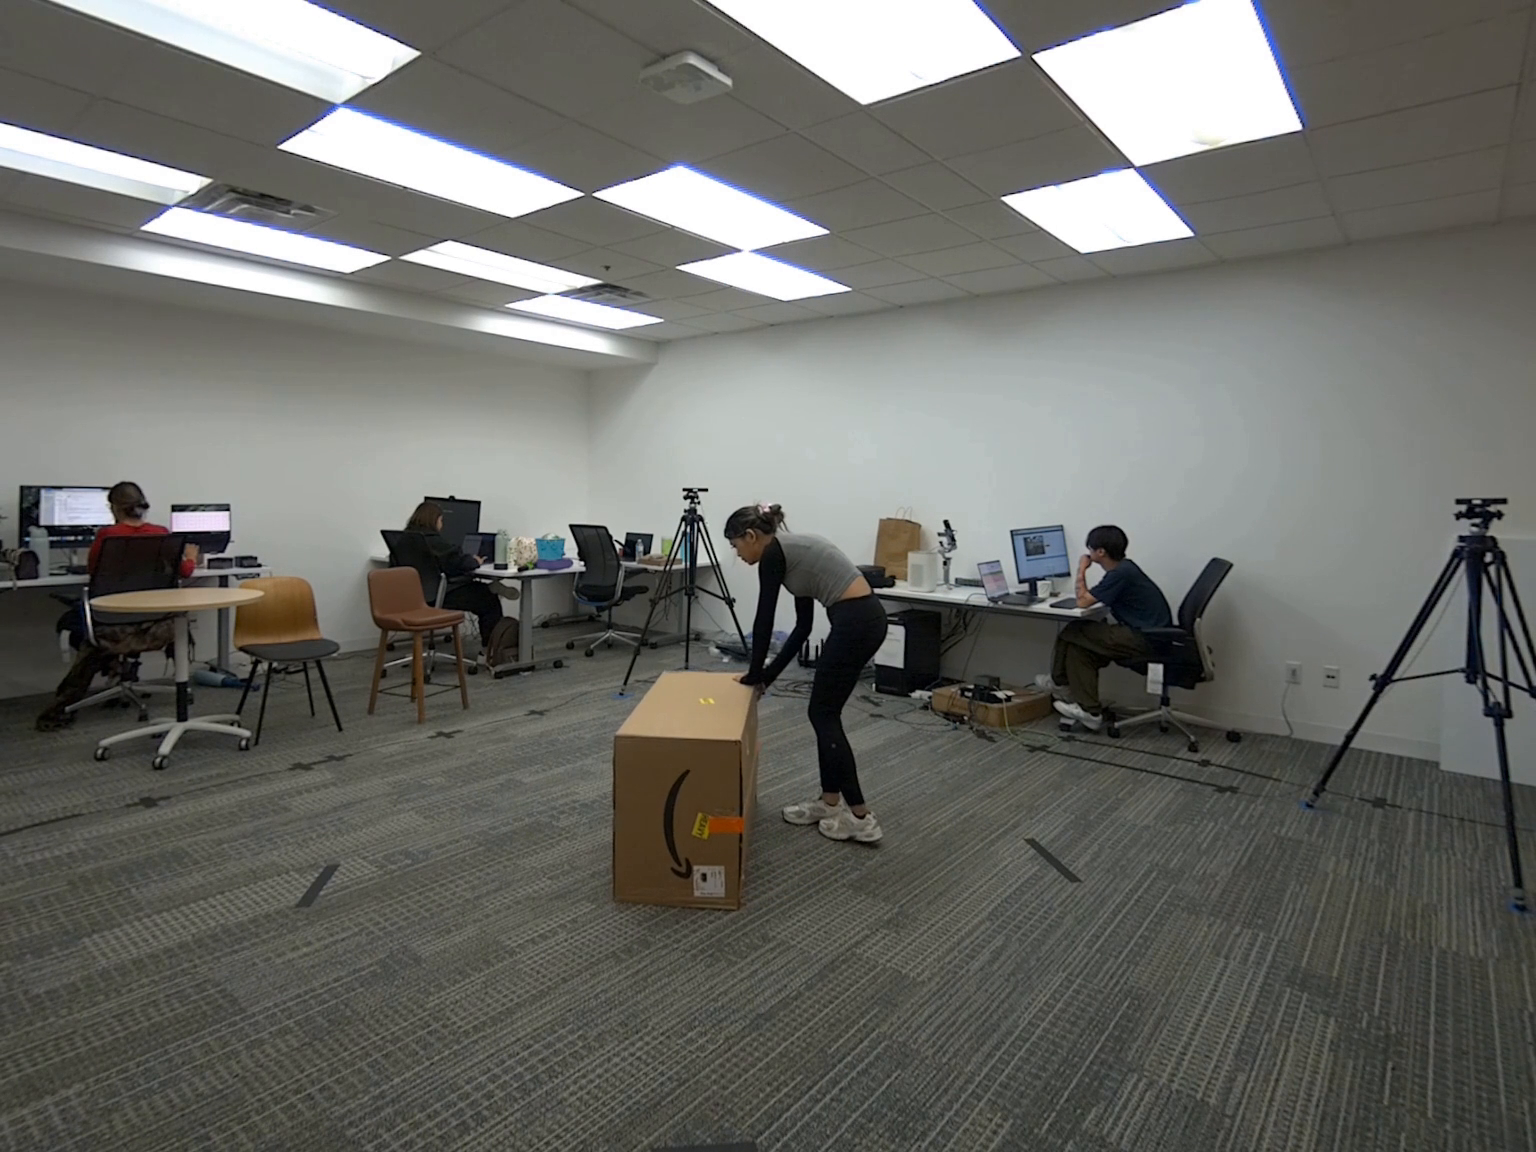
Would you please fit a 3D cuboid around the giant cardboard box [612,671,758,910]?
[{"bbox_3d":[-0.293,0.760,3.303,0.448,0.582,1.027,2,5,2],"label":"giant cardboard box"}]
